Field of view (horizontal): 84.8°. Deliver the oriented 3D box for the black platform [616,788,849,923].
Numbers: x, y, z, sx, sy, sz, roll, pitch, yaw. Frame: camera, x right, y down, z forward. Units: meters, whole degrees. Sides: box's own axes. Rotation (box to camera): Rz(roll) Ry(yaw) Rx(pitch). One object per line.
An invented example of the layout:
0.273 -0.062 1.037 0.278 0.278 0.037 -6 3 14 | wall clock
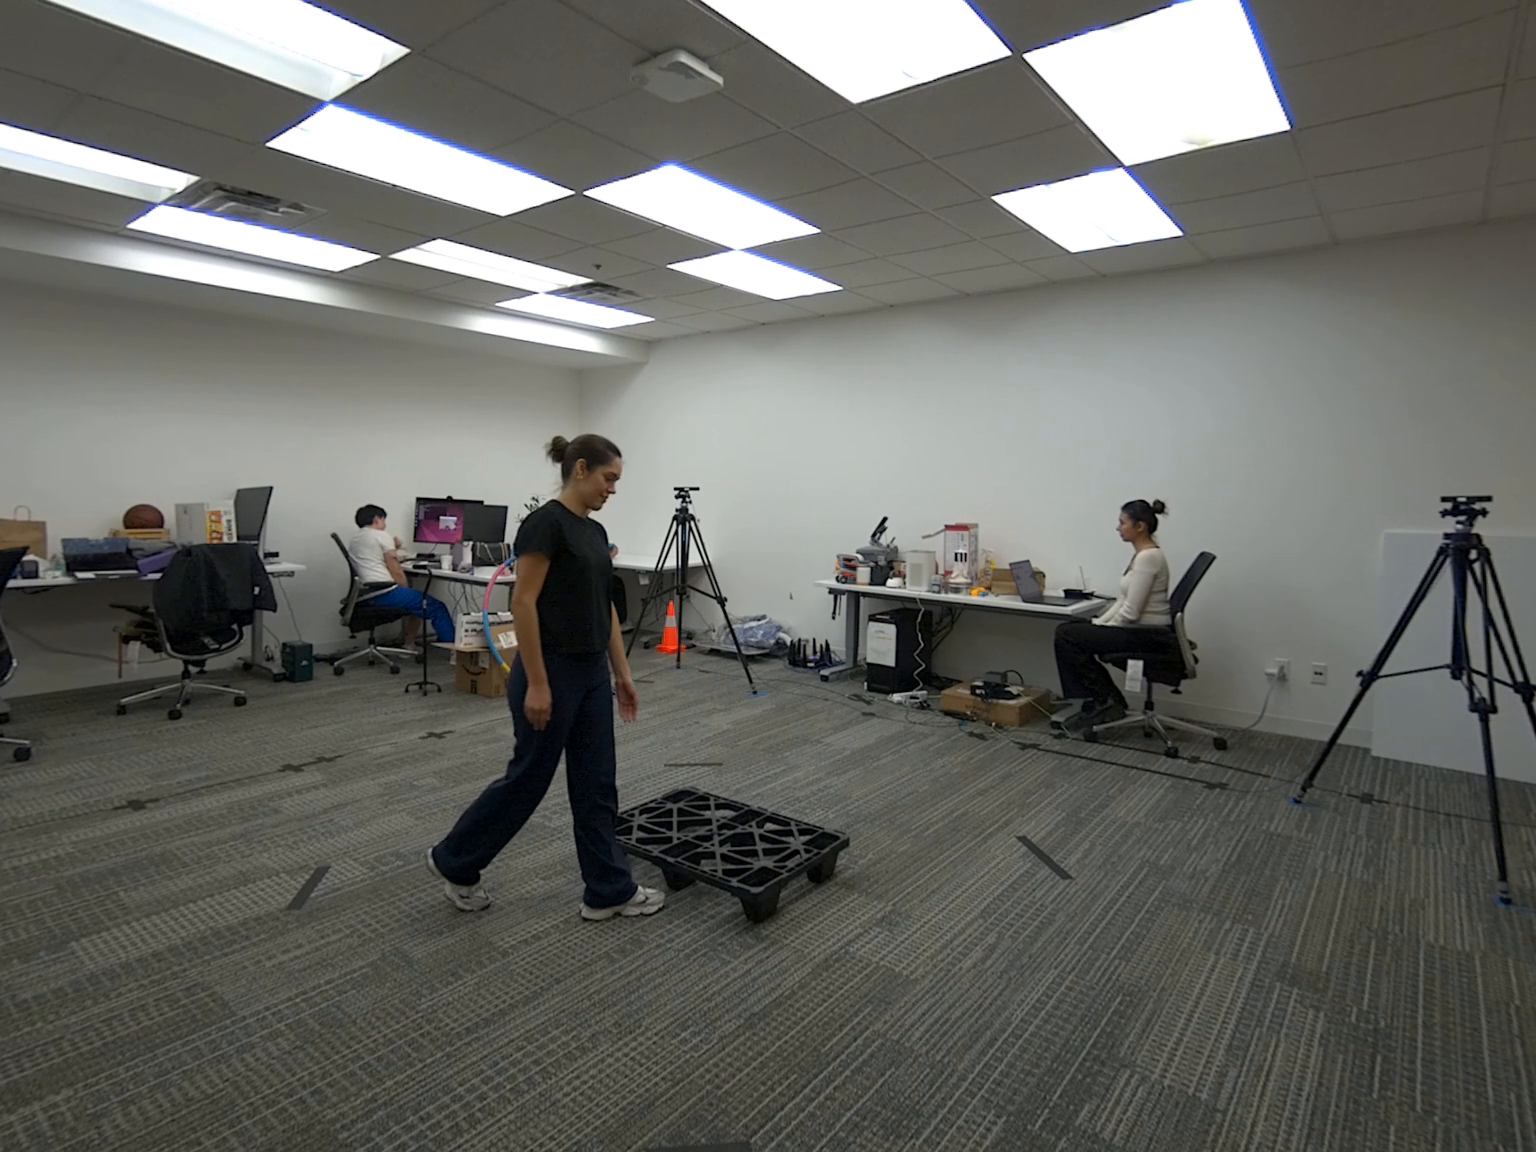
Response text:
-0.178 0.998 3.138 0.832 0.143 0.587 6 7 37 | black platform
